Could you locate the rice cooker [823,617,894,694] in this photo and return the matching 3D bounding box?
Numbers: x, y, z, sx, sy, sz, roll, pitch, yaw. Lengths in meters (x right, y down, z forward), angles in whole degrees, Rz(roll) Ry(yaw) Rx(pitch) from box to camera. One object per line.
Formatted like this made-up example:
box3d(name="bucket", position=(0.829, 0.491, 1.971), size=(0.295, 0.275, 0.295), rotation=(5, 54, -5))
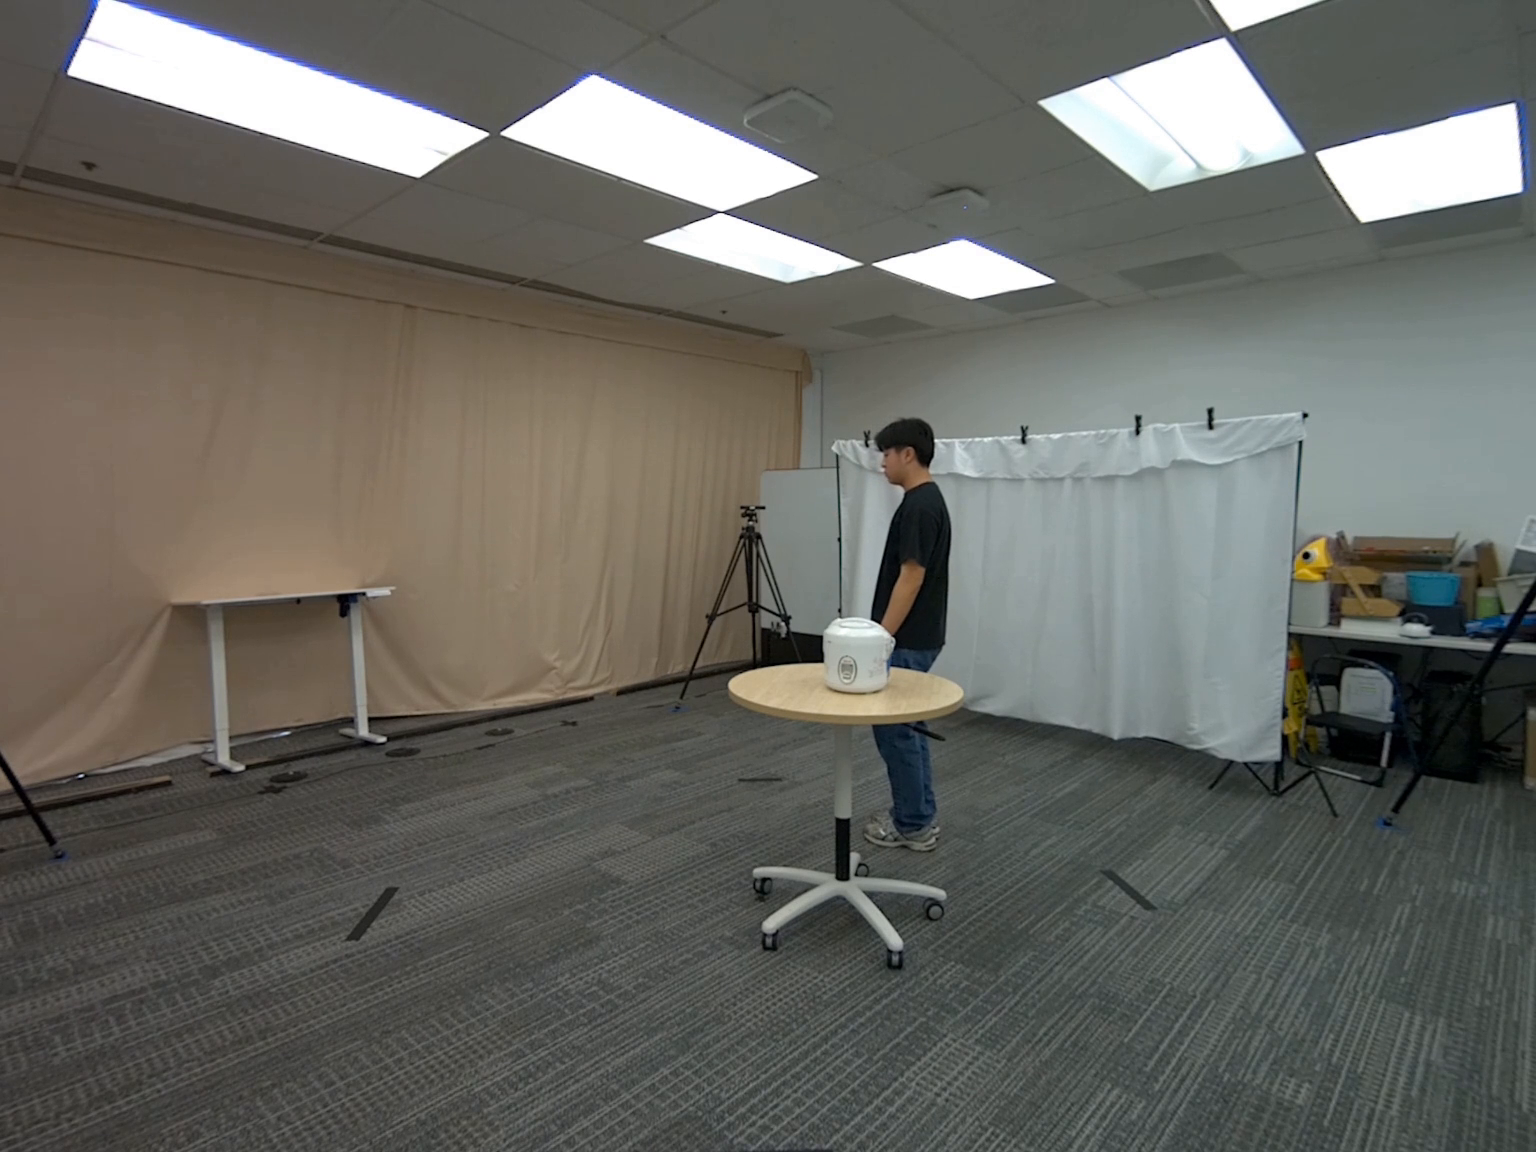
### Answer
box3d(name="rice cooker", position=(0.298, 0.251, 2.742), size=(0.226, 0.232, 0.213), rotation=(1, 4, 22))
